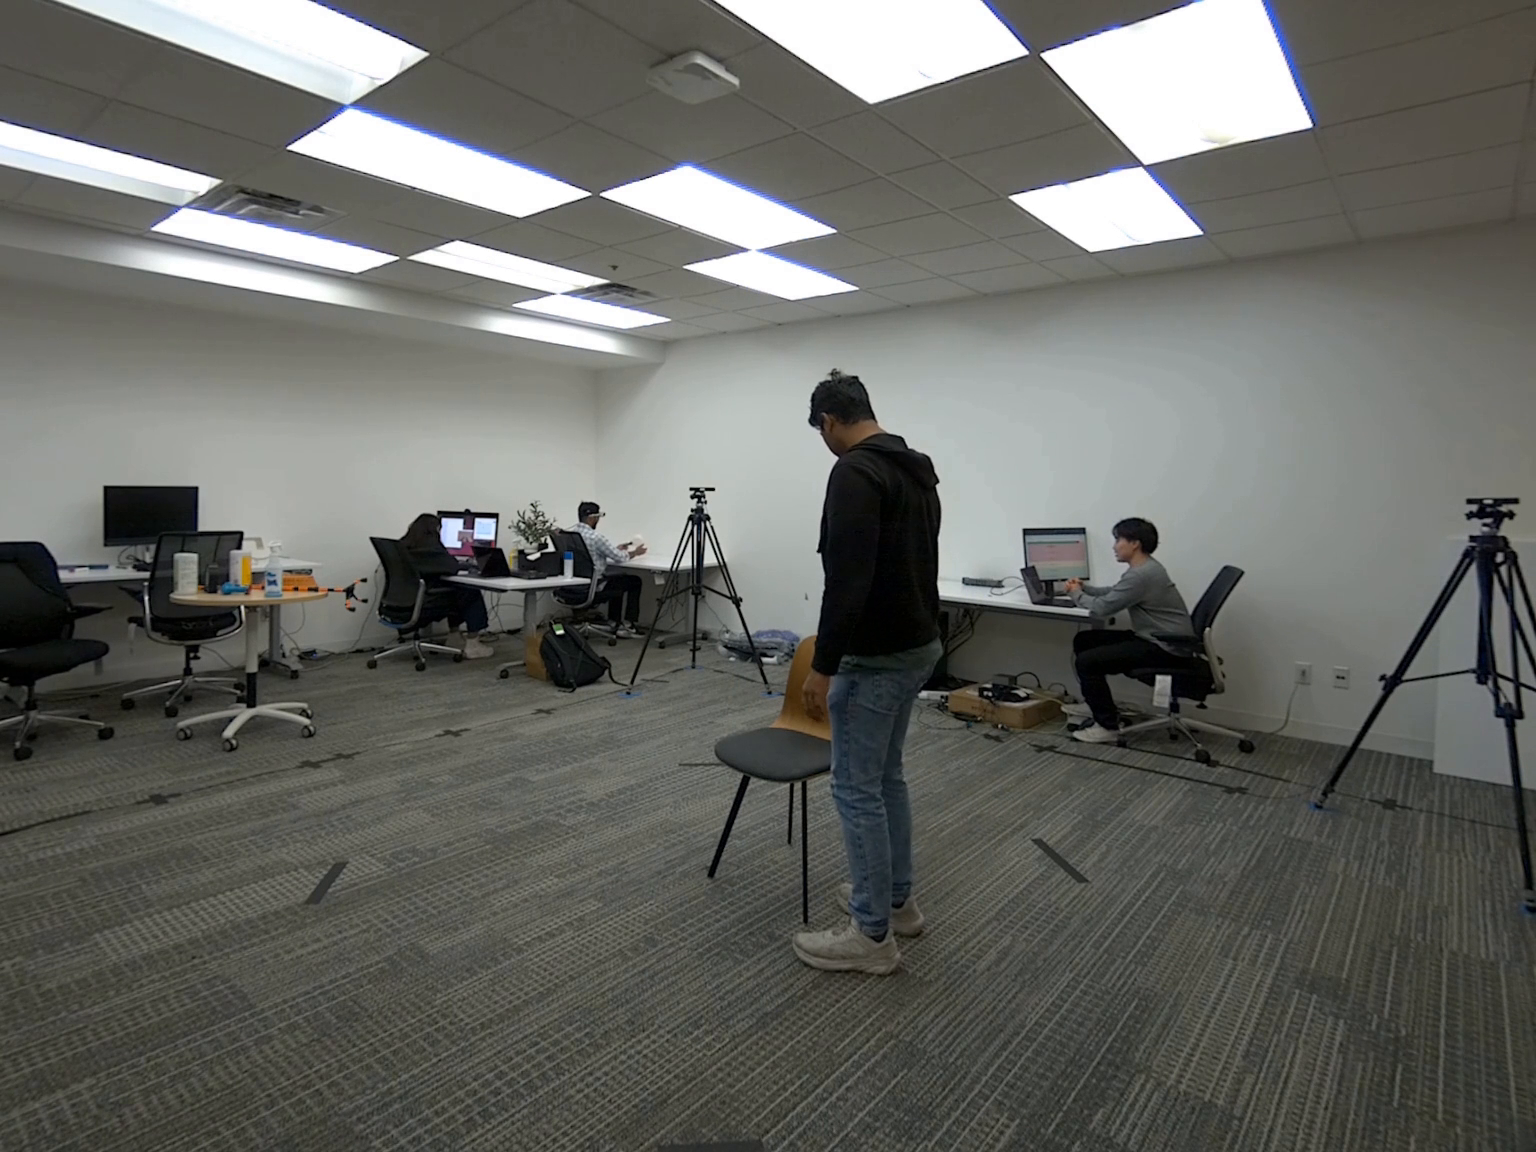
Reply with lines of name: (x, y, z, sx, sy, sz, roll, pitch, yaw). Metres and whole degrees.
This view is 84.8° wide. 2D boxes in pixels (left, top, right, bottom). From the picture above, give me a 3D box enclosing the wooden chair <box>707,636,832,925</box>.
wooden chair: (0.091, 0.654, 3.012, 0.494, 0.877, 0.505, 5, 0, 43)
